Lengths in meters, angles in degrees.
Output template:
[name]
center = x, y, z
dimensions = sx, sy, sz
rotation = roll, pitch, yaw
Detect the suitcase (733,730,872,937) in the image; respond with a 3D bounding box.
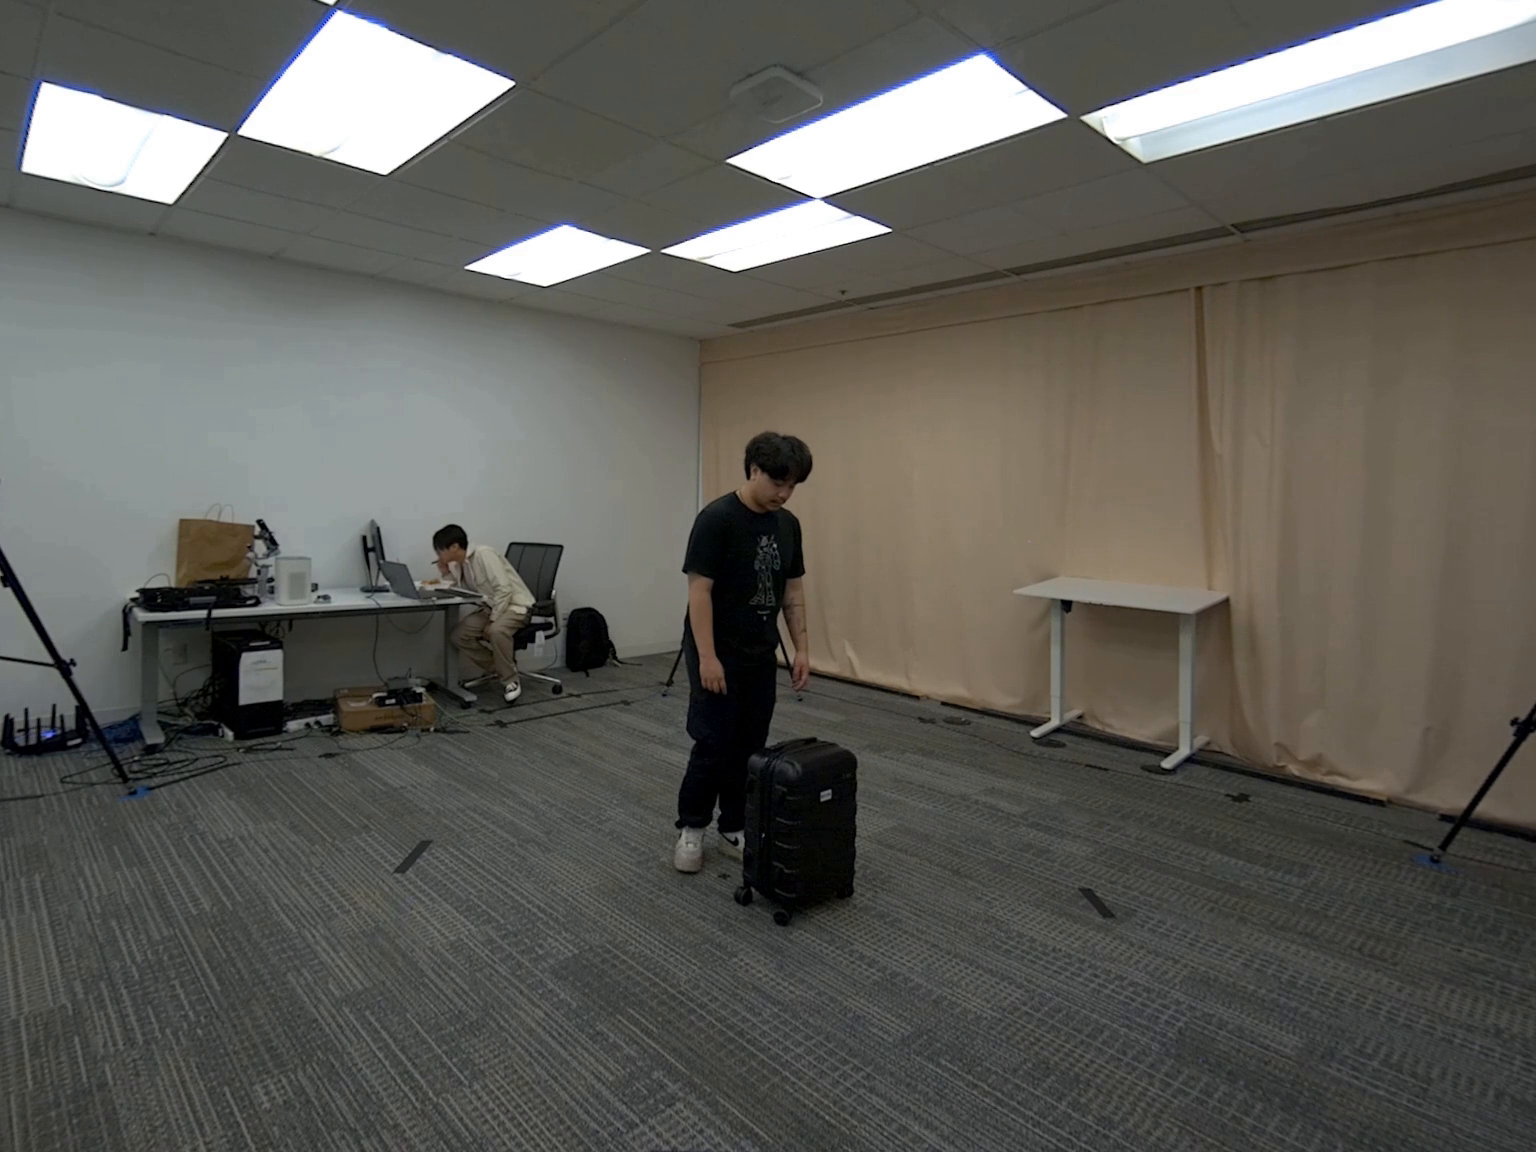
[suitcase]
center = 0.118, 0.861, 2.912
dimensions = 0.367, 0.548, 0.255
rotation = -1, 6, -42
